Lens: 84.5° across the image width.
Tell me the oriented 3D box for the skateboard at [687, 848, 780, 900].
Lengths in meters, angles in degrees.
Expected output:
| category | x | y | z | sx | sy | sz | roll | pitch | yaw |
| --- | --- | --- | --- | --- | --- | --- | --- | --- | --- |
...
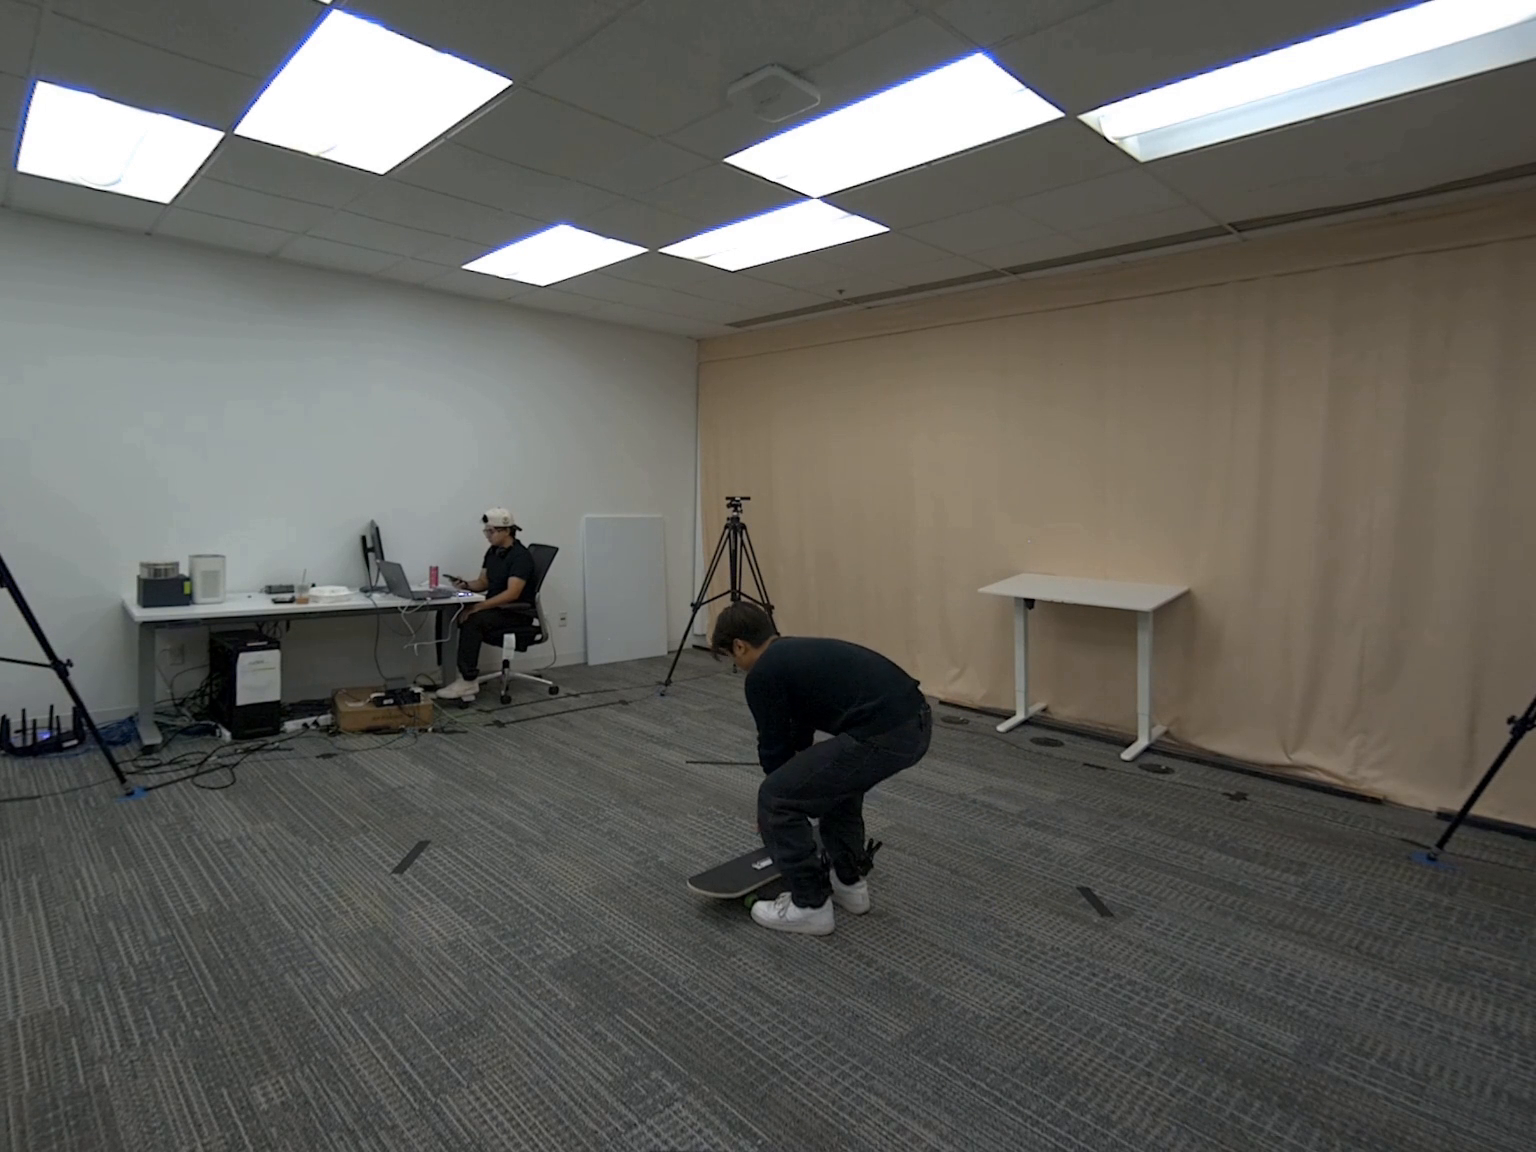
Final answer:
| category | x | y | z | sx | sy | sz | roll | pitch | yaw |
| --- | --- | --- | --- | --- | --- | --- | --- | --- | --- |
| skateboard | 0.012 | 1.052 | 3.049 | 0.198 | 0.110 | 0.768 | 5 | 6 | 42 |
